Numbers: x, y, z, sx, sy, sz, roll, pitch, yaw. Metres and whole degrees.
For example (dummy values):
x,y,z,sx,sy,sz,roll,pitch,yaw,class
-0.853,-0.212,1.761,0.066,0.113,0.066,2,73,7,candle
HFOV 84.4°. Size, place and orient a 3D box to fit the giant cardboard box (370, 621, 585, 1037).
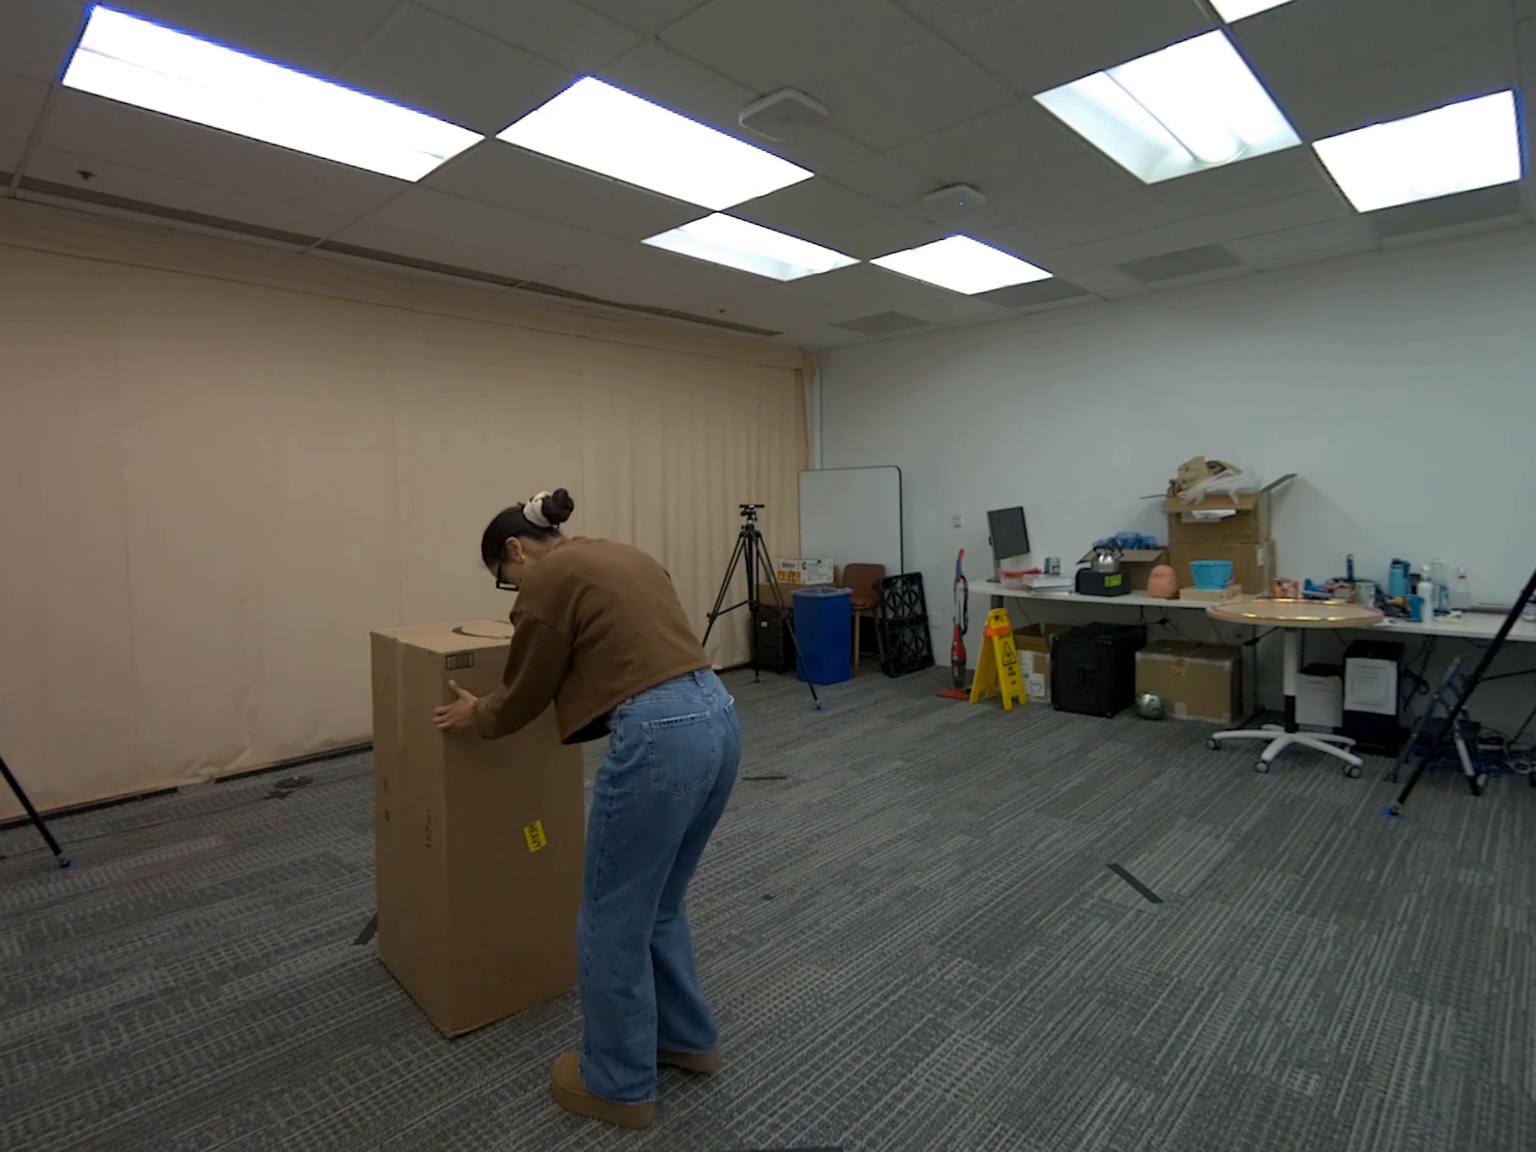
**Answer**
x,y,z,sx,sy,sz,roll,pitch,yaw,class
-0.882,0.683,2.547,0.413,1.024,0.596,-2,4,-41,giant cardboard box
